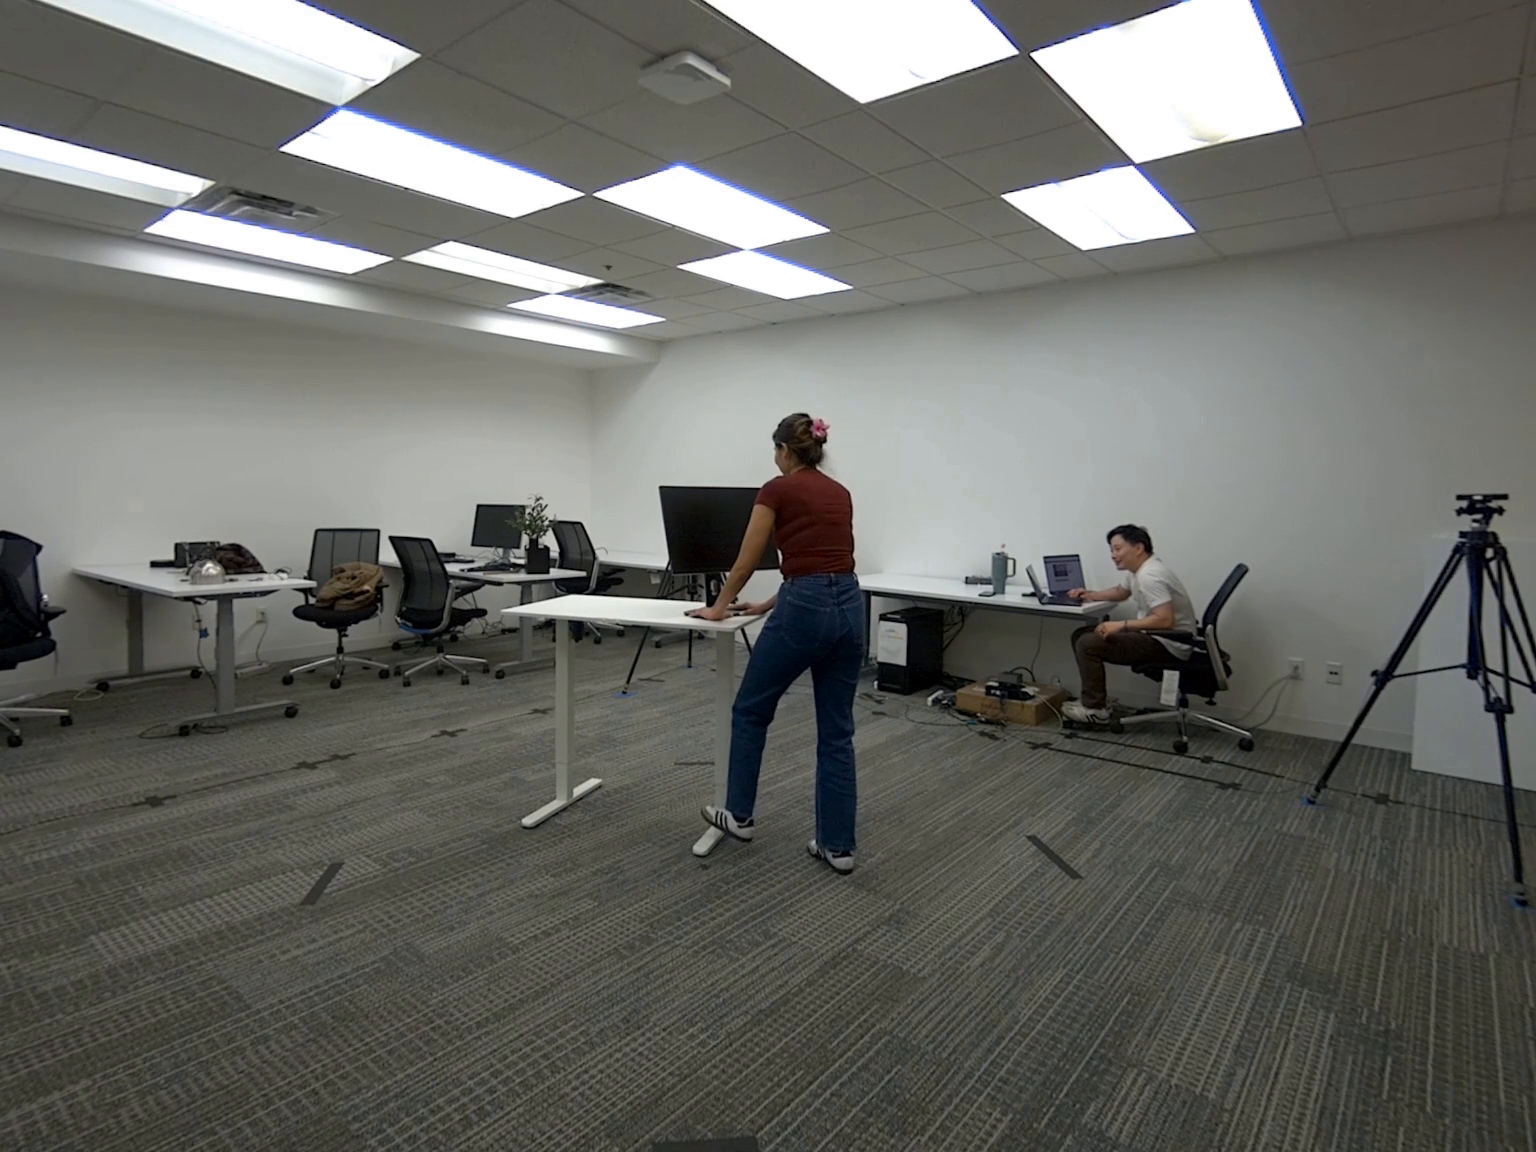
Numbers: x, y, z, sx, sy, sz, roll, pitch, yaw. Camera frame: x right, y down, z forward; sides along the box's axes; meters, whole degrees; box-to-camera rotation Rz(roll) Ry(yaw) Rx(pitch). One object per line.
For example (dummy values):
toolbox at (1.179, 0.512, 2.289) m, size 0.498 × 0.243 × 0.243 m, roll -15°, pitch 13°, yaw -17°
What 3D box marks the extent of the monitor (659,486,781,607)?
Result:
monitor at (-0.215, -0.101, 3.443) m, size 0.523 × 0.523 × 0.193 m, roll -2°, pitch 0°, yaw -39°
